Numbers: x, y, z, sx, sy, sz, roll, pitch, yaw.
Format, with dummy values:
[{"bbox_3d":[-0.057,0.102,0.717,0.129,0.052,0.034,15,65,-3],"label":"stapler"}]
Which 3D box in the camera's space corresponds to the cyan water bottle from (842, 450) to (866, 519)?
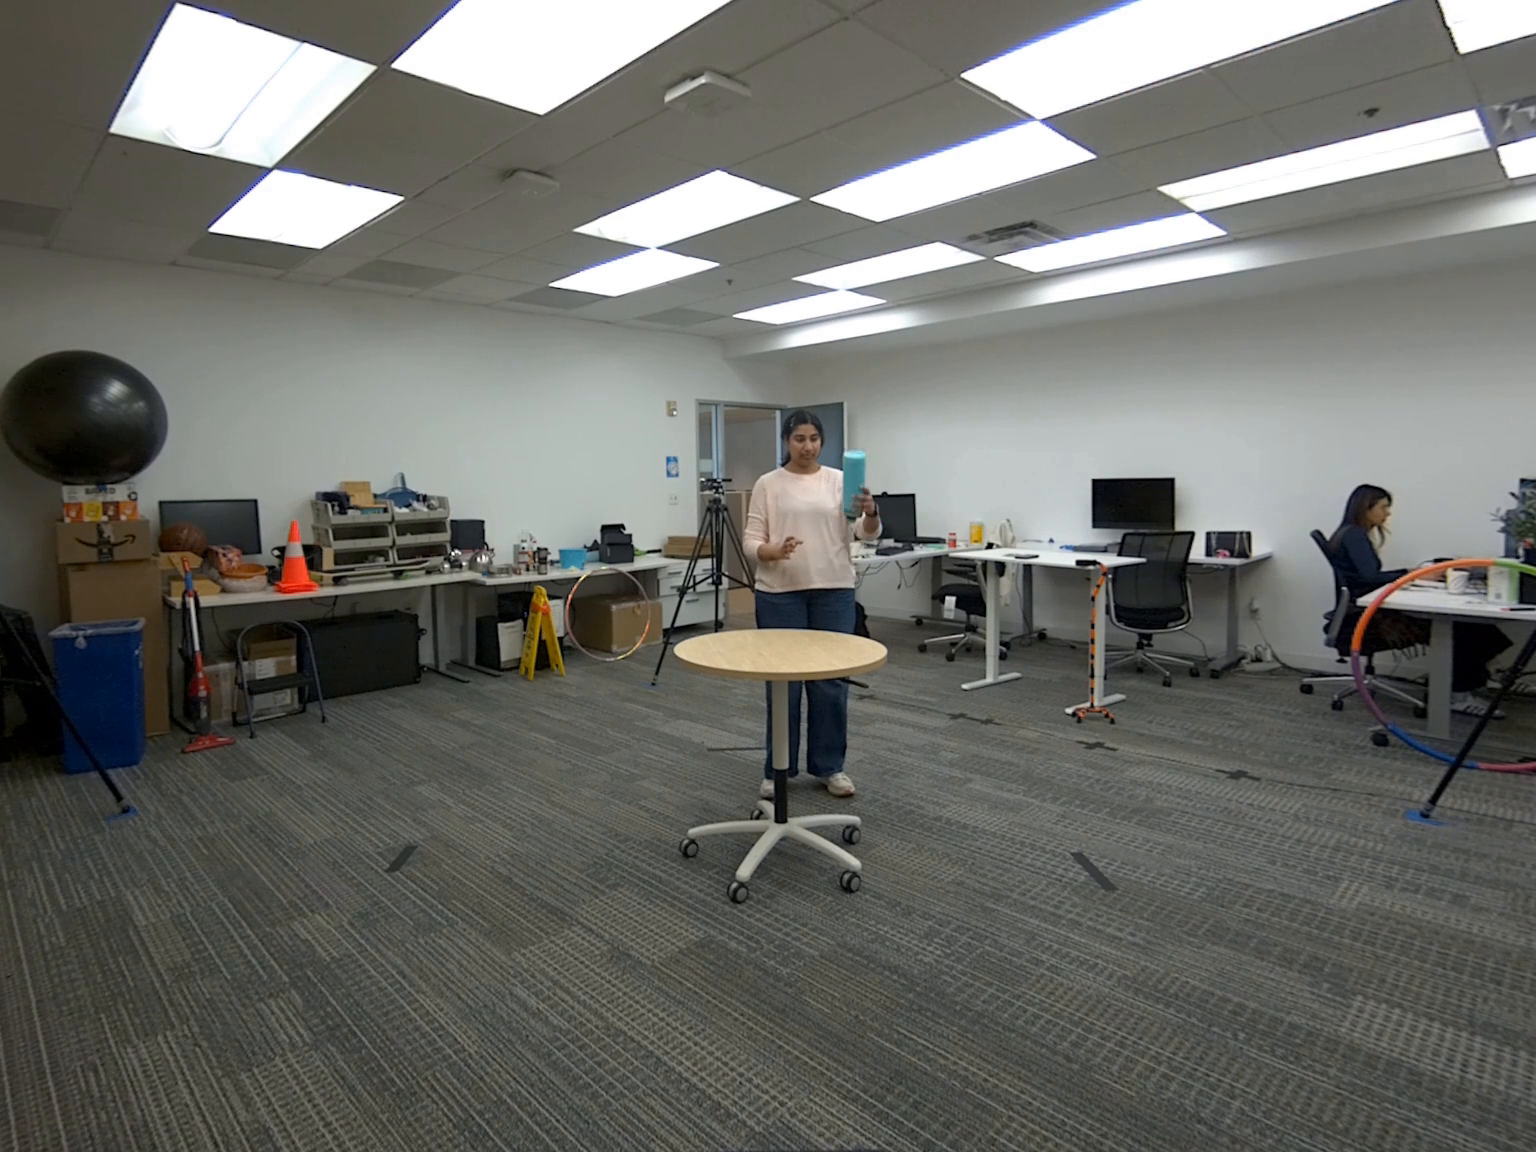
[{"bbox_3d":[0.335,-0.355,3.426,0.092,0.277,0.094,-5,26,1],"label":"cyan water bottle"}]
